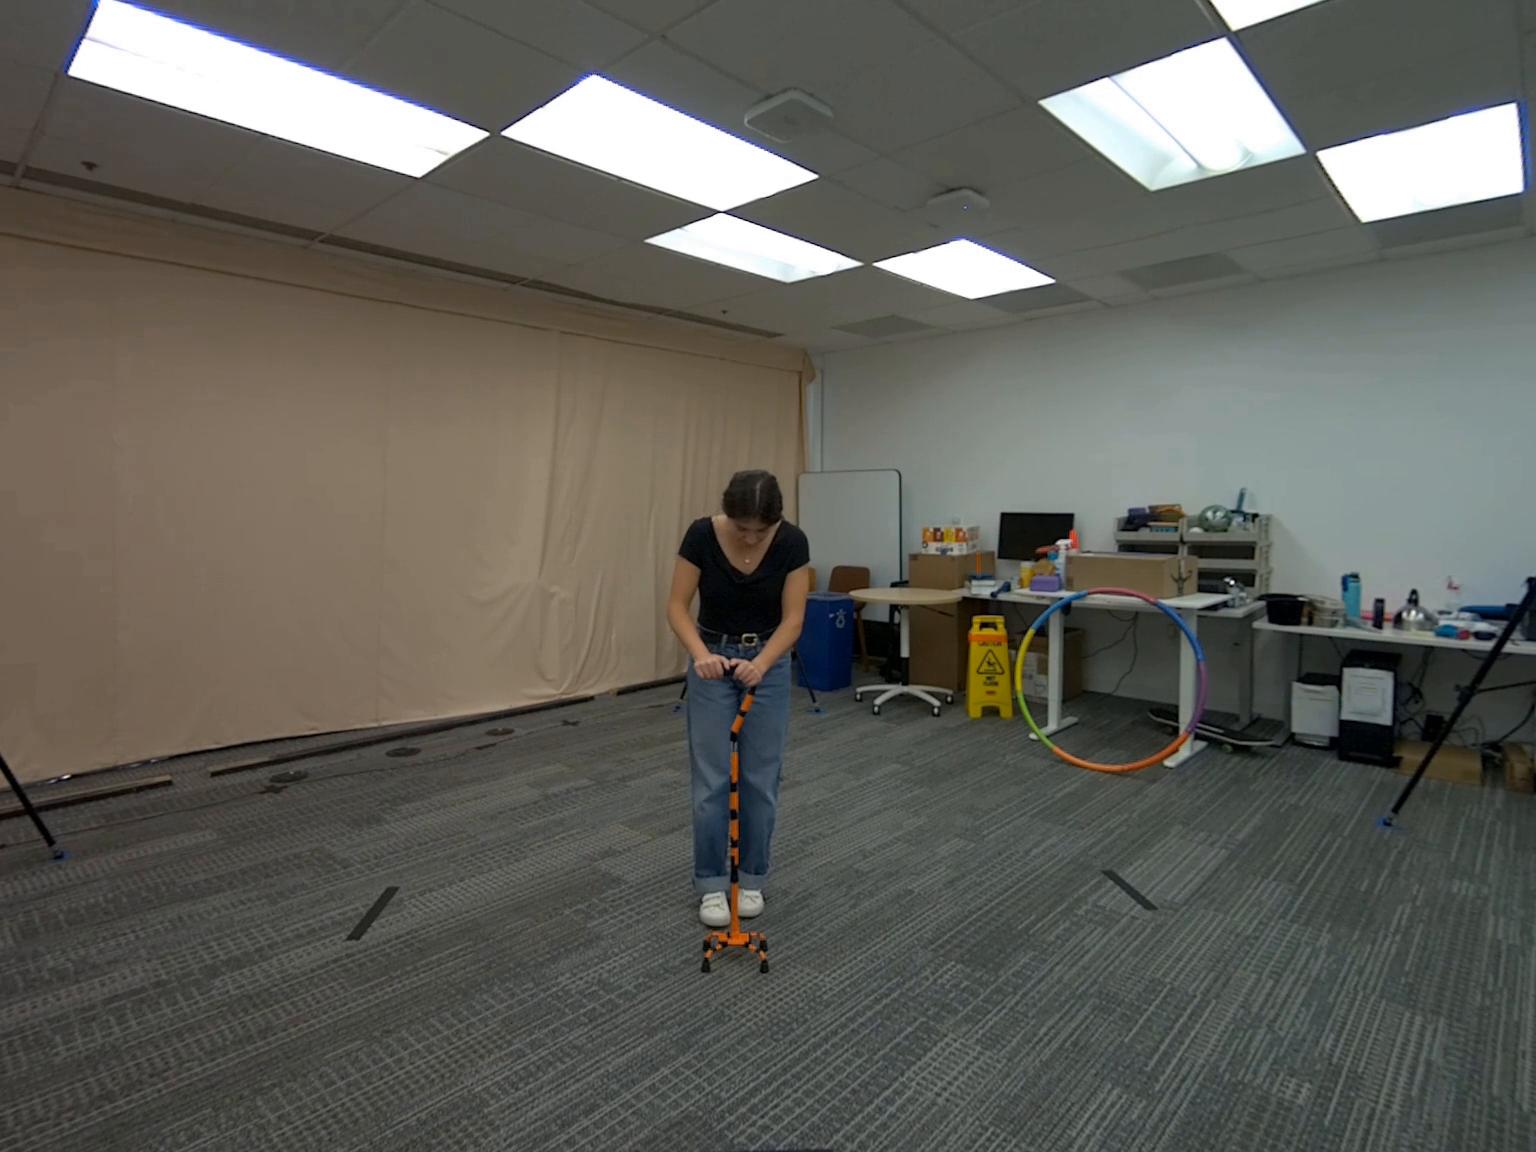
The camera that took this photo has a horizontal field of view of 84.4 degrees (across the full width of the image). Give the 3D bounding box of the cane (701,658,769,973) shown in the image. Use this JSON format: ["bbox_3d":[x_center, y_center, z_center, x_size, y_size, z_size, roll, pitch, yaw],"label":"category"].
[{"bbox_3d":[-0.100,0.719,2.559,0.206,0.905,0.152,0,4,-1],"label":"cane"}]
